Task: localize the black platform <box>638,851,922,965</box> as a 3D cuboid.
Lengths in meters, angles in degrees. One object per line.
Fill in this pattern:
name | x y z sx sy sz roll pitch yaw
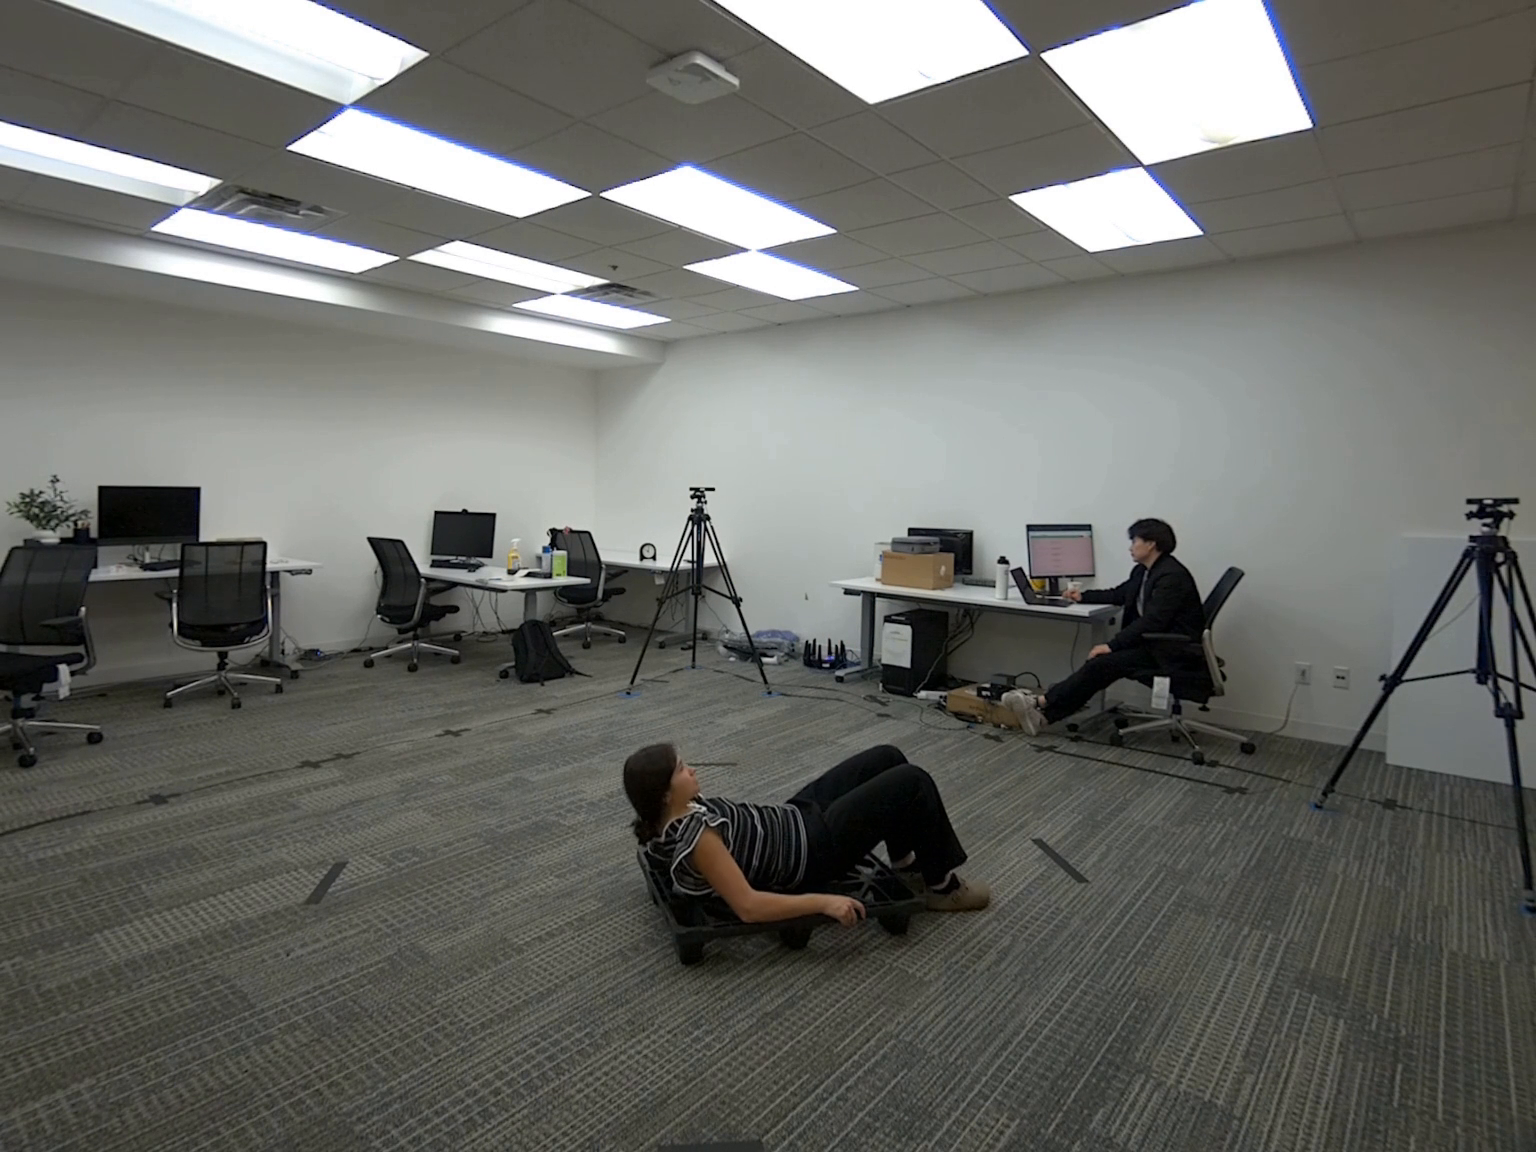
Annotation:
black platform | 0.010 1.033 2.797 0.792 0.143 0.618 0 5 -17
